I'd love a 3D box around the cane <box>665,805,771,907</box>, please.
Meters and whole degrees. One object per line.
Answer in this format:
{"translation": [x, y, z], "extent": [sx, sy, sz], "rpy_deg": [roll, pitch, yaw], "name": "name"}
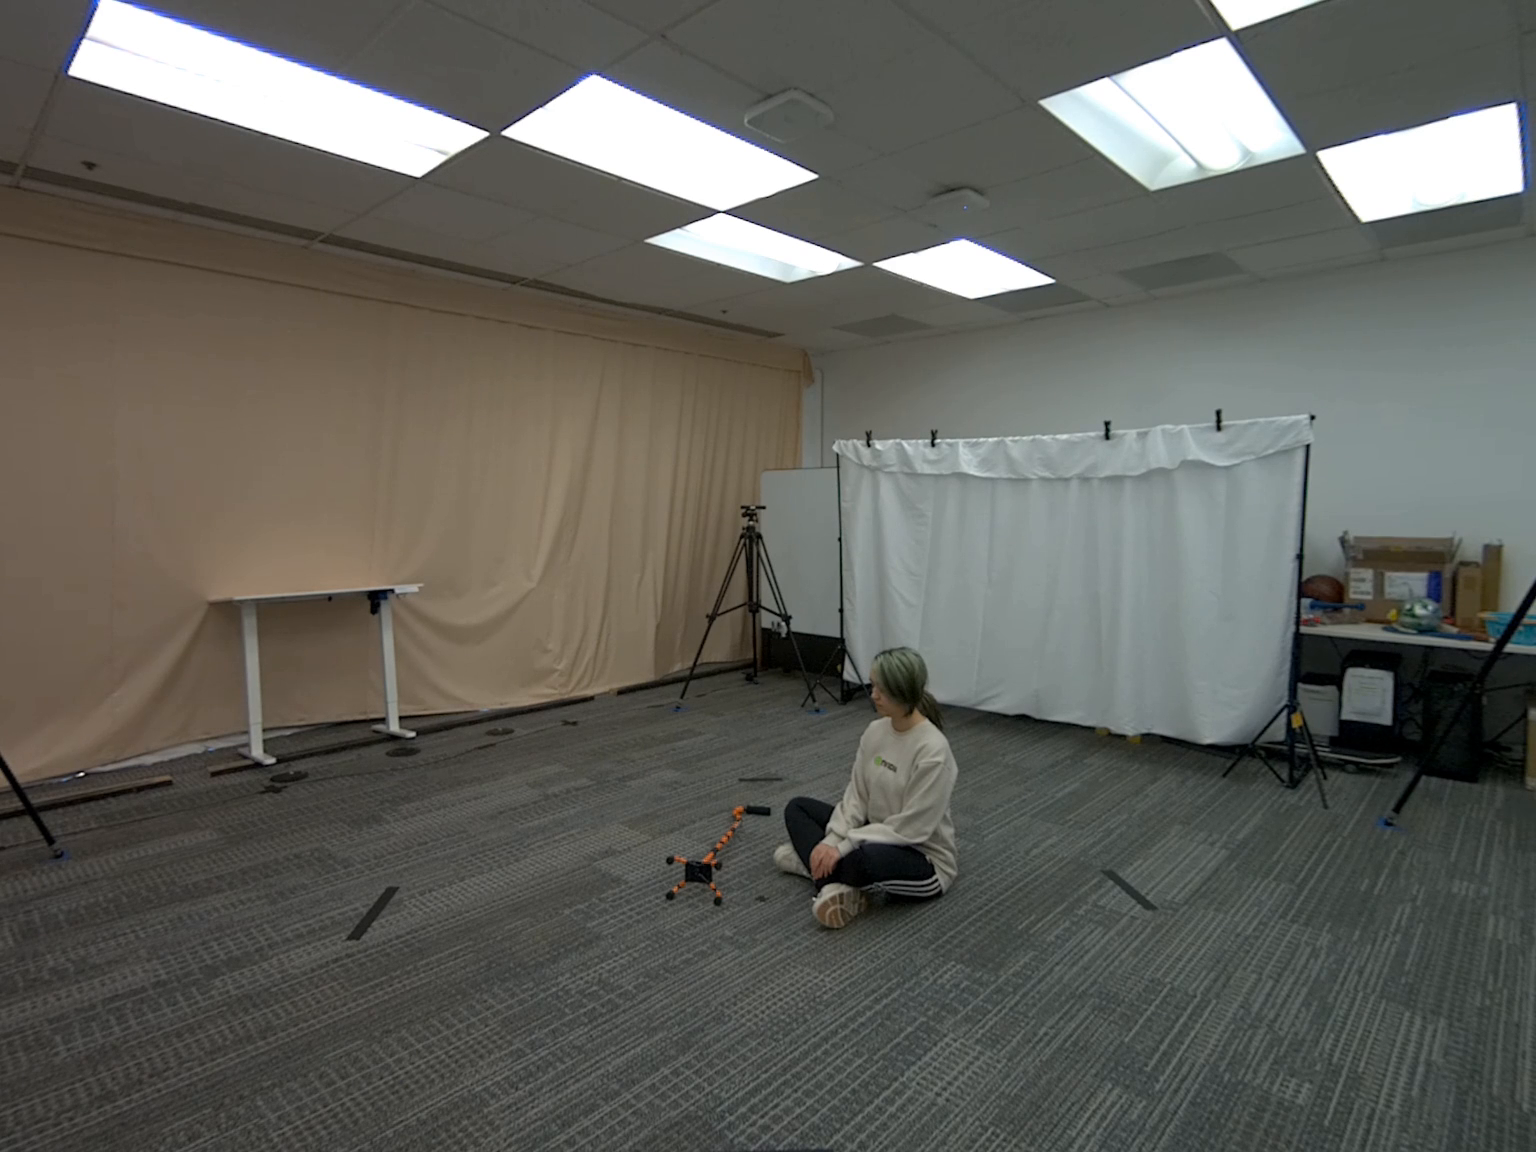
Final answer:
{"translation": [-0.172, 1.063, 3.391], "extent": [0.209, 0.152, 0.894], "rpy_deg": [-1, 0, 12], "name": "cane"}
